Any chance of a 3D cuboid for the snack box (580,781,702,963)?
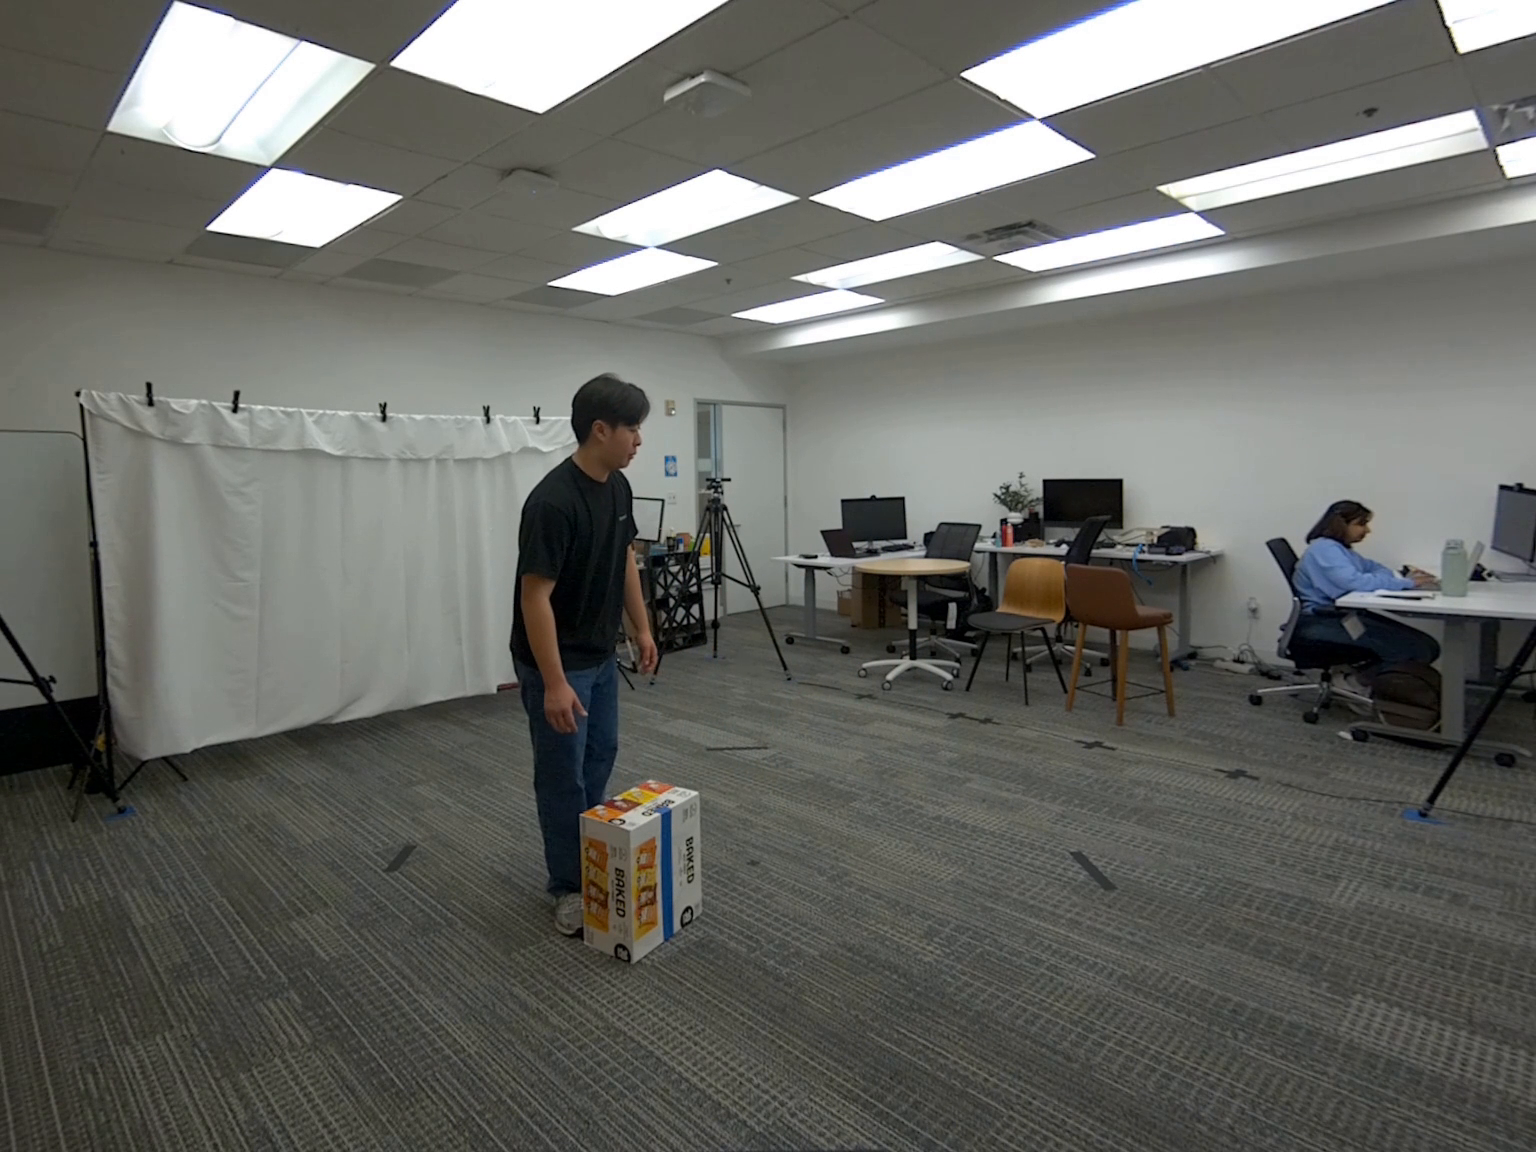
[{"bbox_3d":[-0.389,0.896,2.652,0.211,0.403,0.333,3,7,32],"label":"snack box"}]
